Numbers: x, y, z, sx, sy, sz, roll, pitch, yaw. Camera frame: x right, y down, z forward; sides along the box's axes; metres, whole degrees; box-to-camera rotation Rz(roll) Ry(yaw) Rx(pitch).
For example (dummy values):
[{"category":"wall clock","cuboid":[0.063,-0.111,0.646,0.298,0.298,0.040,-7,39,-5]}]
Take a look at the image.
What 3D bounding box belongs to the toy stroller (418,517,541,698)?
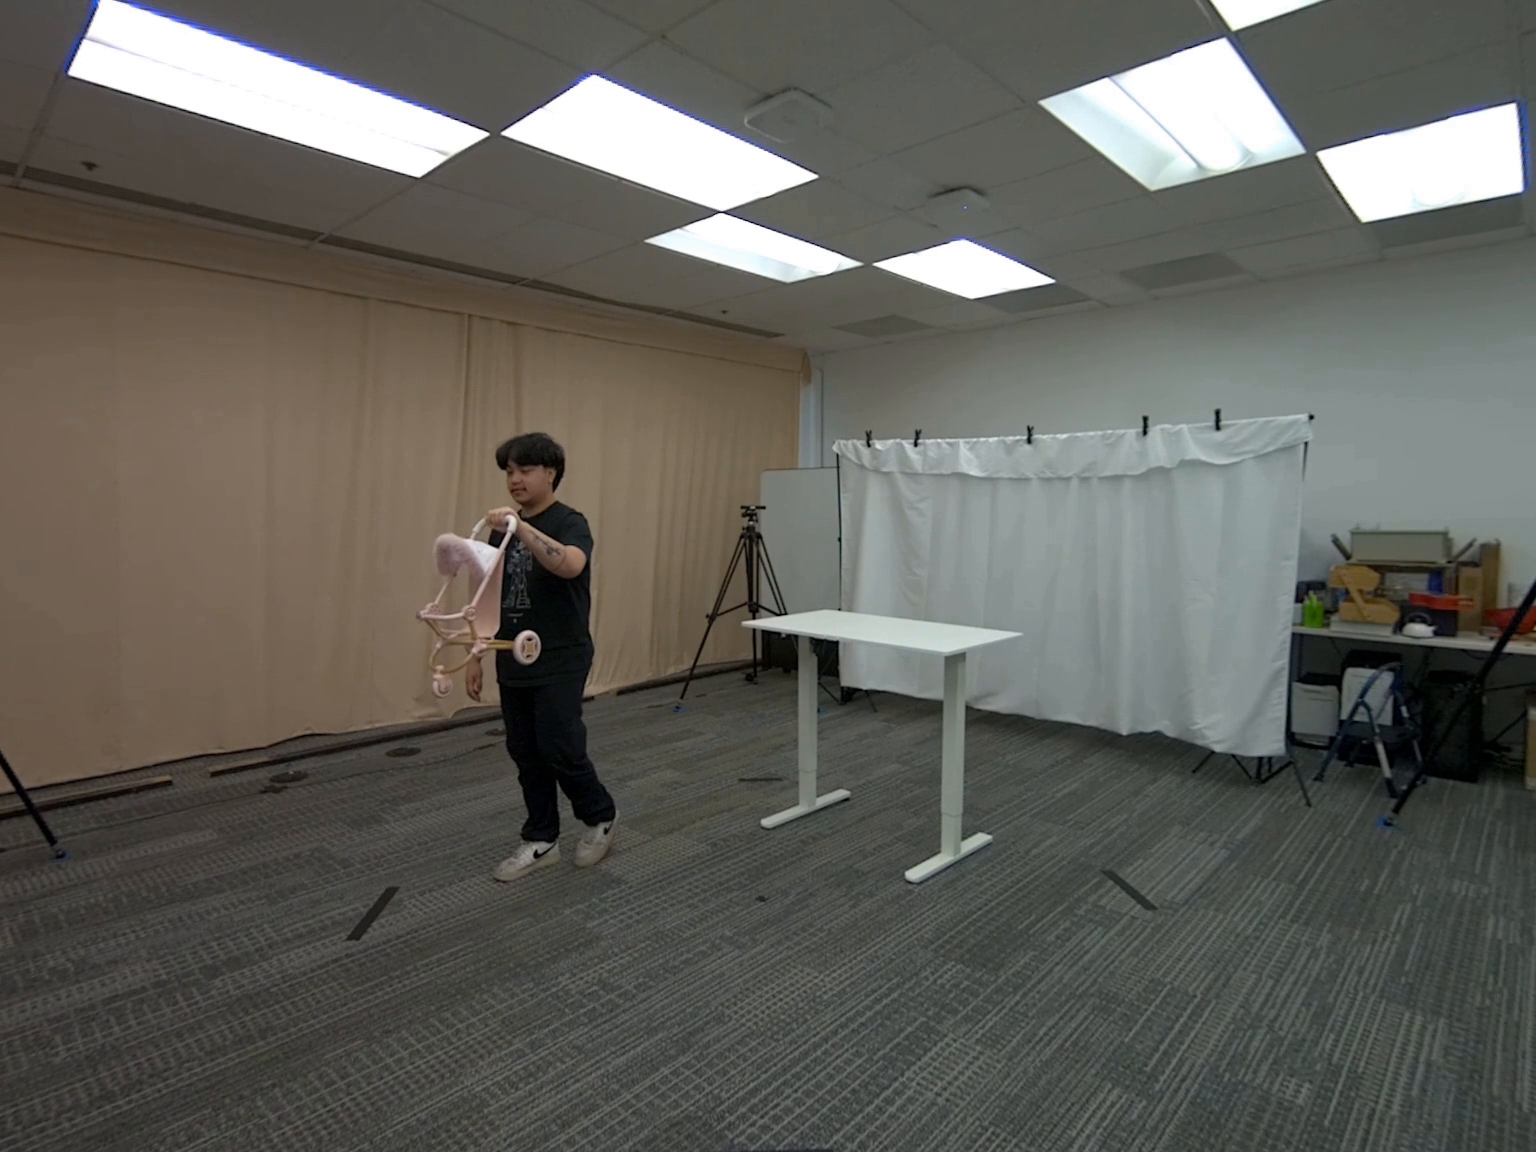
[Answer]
[{"category":"toy stroller","cuboid":[-0.949,0.093,2.705,0.290,0.532,0.332,2,11,39]}]
